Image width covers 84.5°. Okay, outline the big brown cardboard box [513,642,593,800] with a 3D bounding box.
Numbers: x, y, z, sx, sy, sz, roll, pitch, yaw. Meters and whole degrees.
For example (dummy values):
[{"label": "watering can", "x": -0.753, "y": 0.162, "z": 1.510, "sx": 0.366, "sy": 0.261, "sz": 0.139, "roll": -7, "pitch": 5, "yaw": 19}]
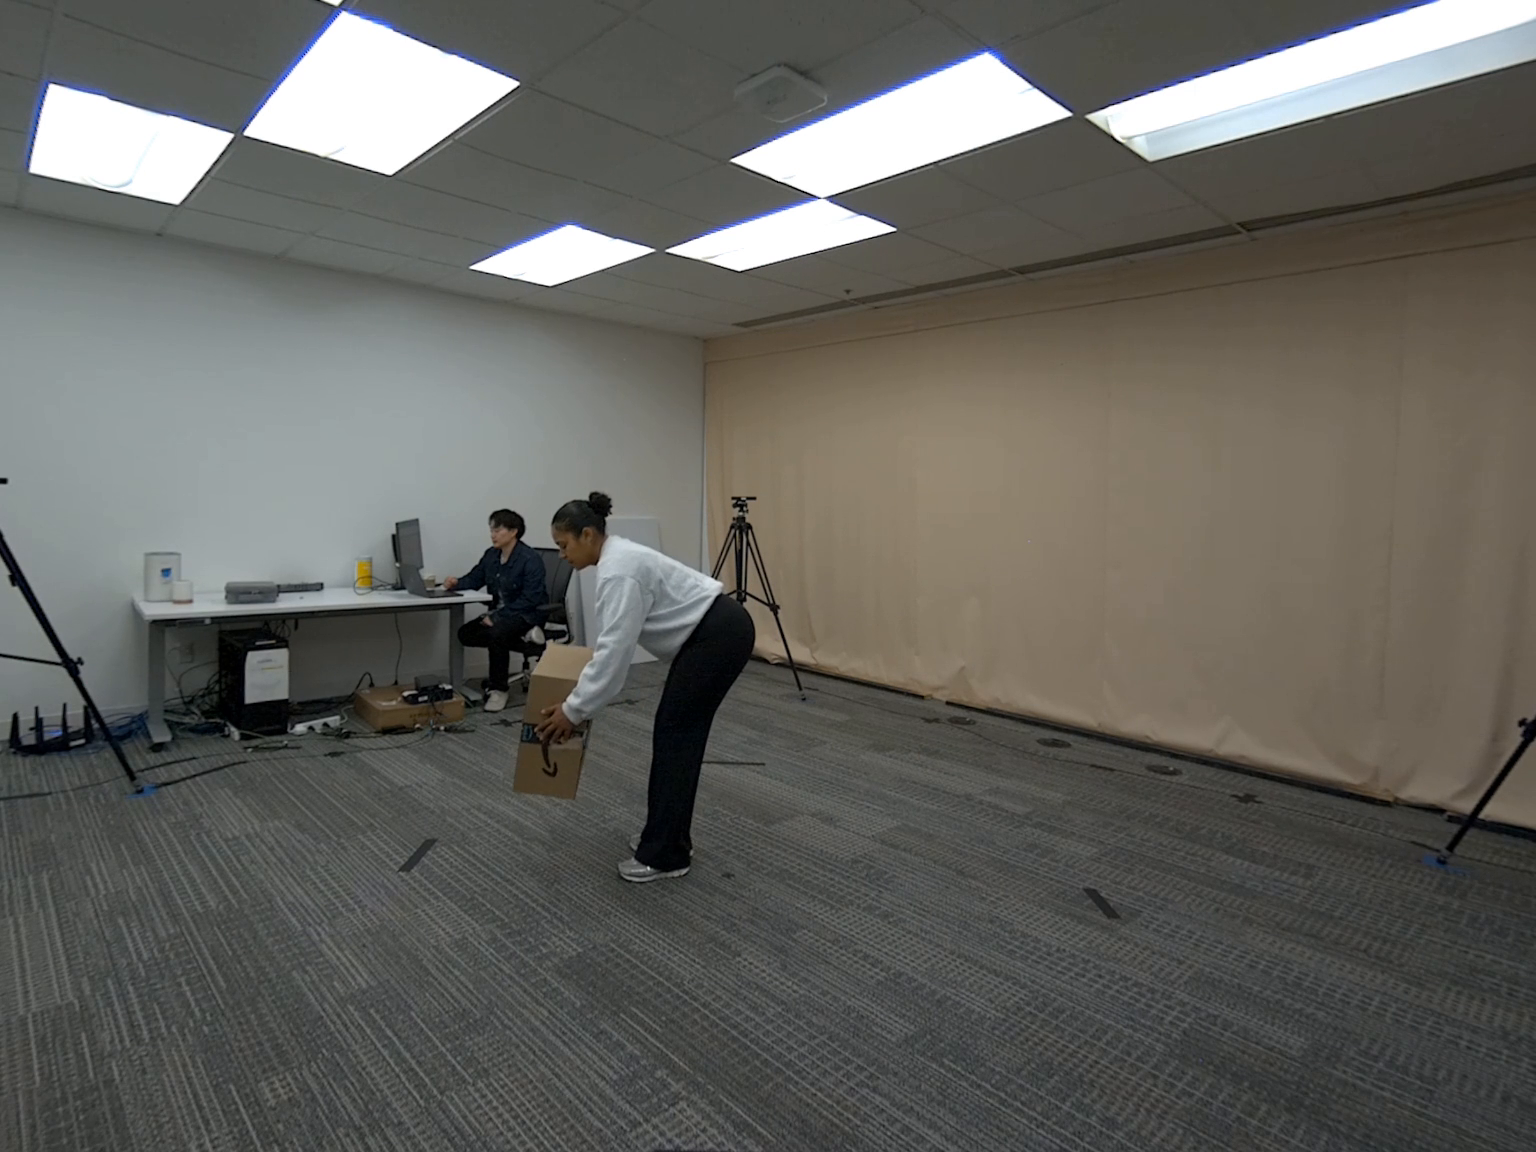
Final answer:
[{"label": "big brown cardboard box", "x": -0.774, "y": 0.517, "z": 3.157, "sx": 0.232, "sy": 0.416, "sz": 0.594, "roll": 9, "pitch": 6, "yaw": -7}]
